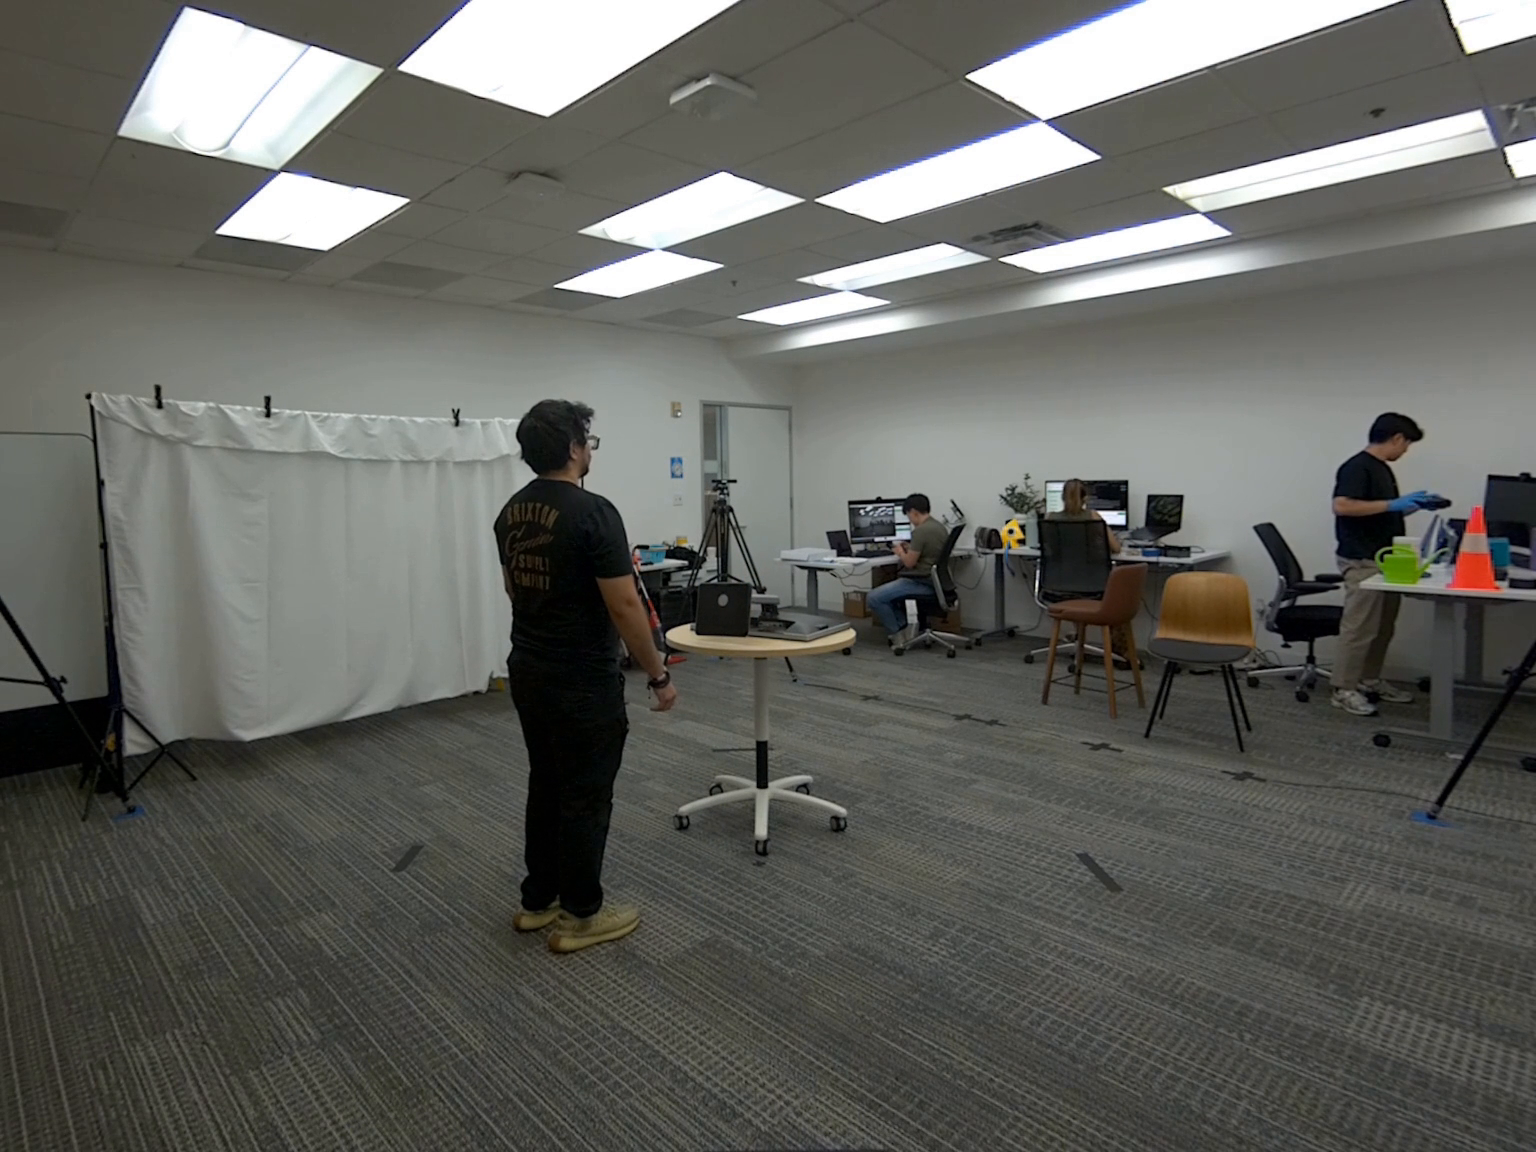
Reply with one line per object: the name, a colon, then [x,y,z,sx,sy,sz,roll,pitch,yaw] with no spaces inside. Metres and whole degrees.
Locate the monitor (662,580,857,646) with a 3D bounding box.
monitor: [-0.029,0.134,3.453,0.581,0.210,0.538,2,0,33]
